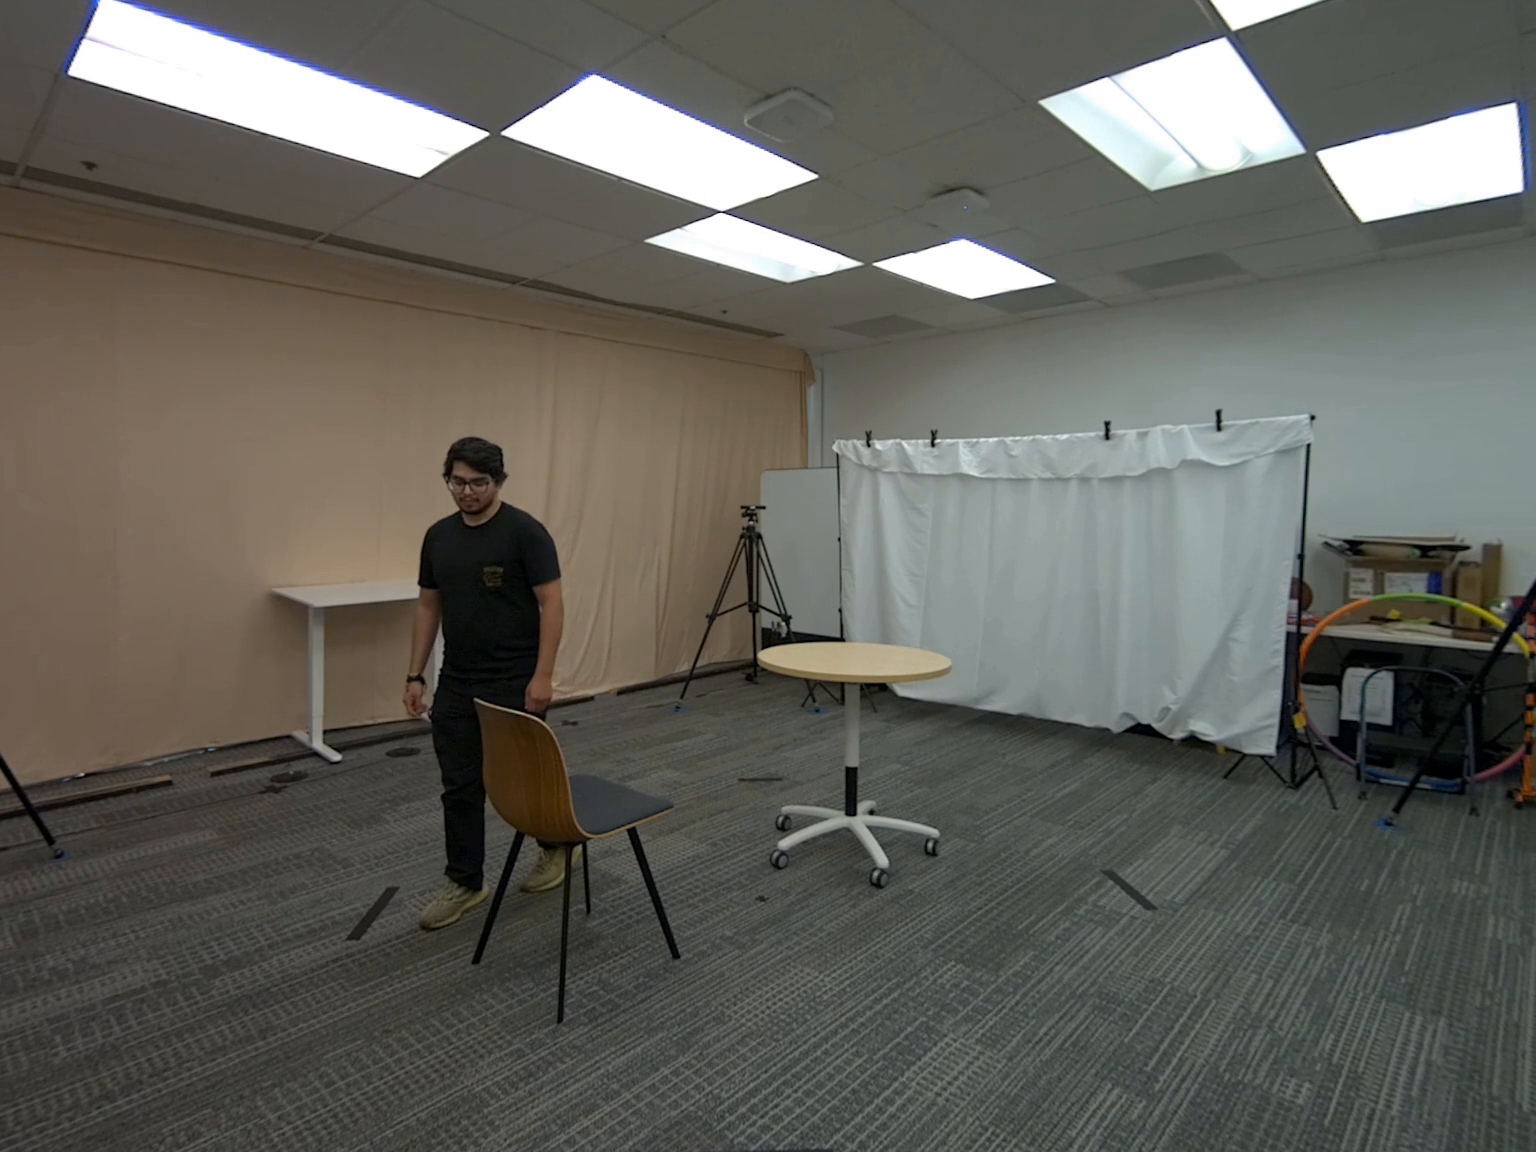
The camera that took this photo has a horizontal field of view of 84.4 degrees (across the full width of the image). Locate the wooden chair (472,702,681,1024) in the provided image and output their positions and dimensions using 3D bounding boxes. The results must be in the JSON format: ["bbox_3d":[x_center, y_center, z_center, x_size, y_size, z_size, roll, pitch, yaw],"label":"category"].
[{"bbox_3d":[-0.580,0.757,2.556,0.494,0.874,0.508,2,8,42],"label":"wooden chair"}]
